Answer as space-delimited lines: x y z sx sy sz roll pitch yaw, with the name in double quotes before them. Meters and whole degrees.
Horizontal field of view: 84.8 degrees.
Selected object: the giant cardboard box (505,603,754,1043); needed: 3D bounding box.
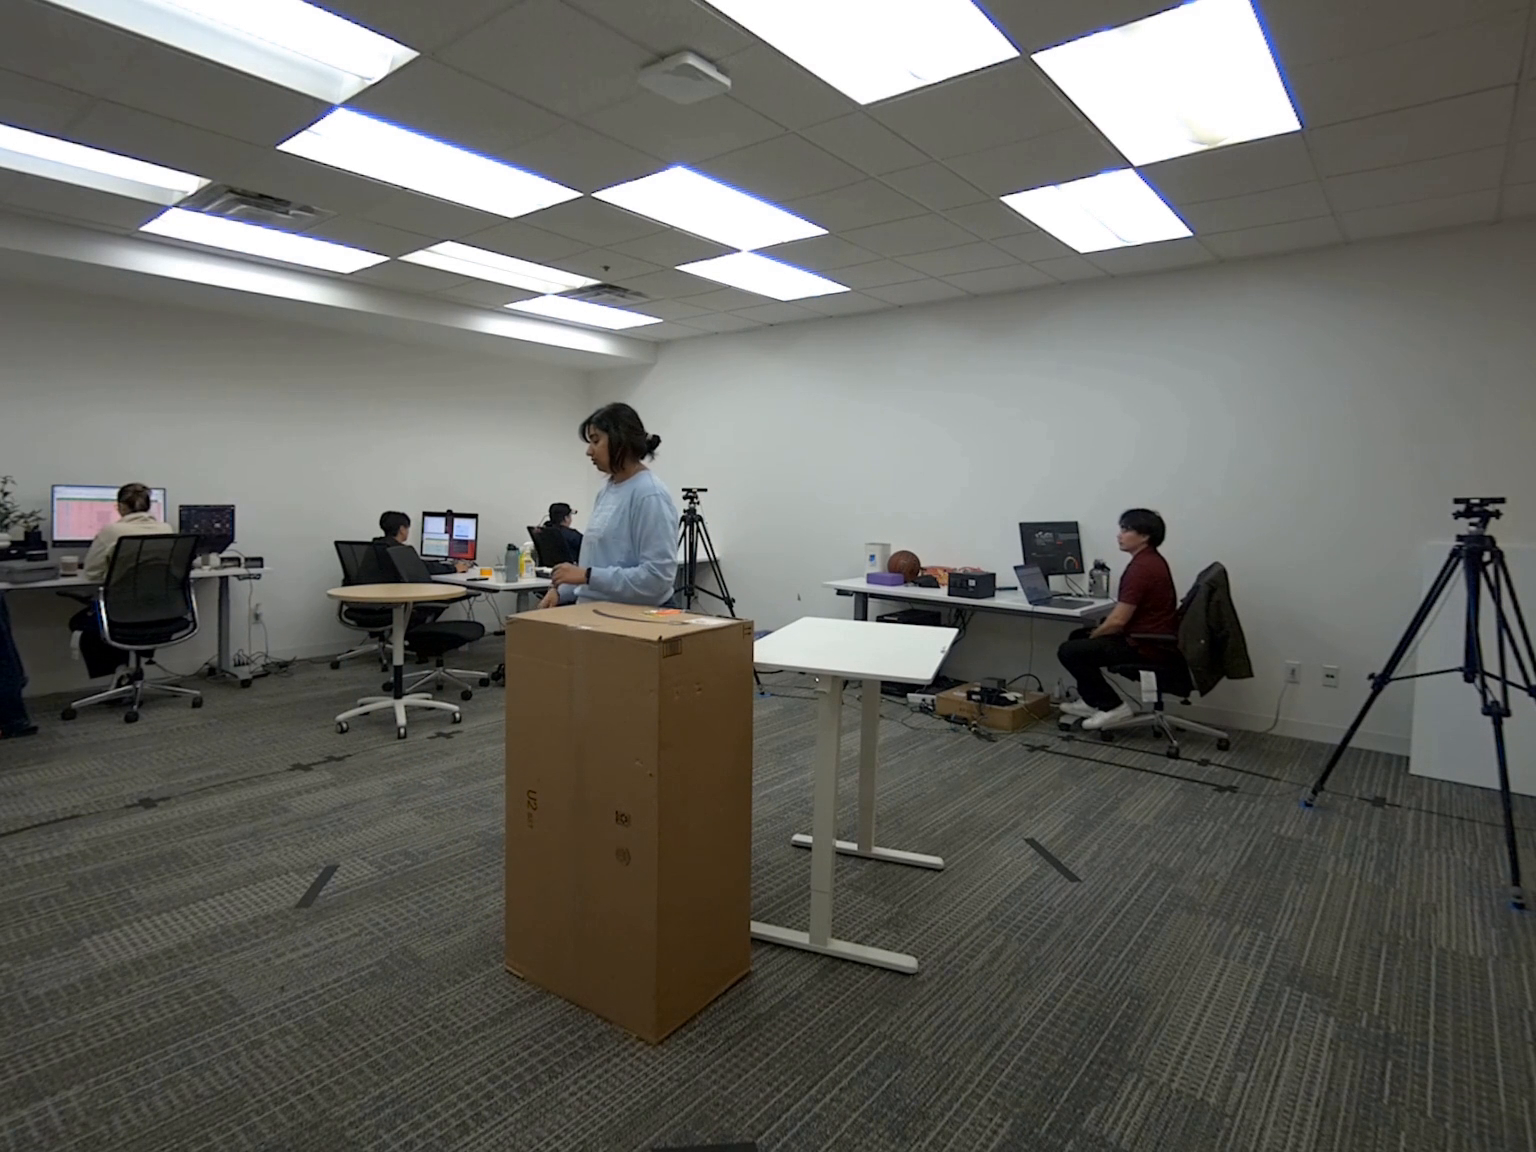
"giant cardboard box" -0.401 0.627 2.424 0.596 1.023 0.414 3 4 34
